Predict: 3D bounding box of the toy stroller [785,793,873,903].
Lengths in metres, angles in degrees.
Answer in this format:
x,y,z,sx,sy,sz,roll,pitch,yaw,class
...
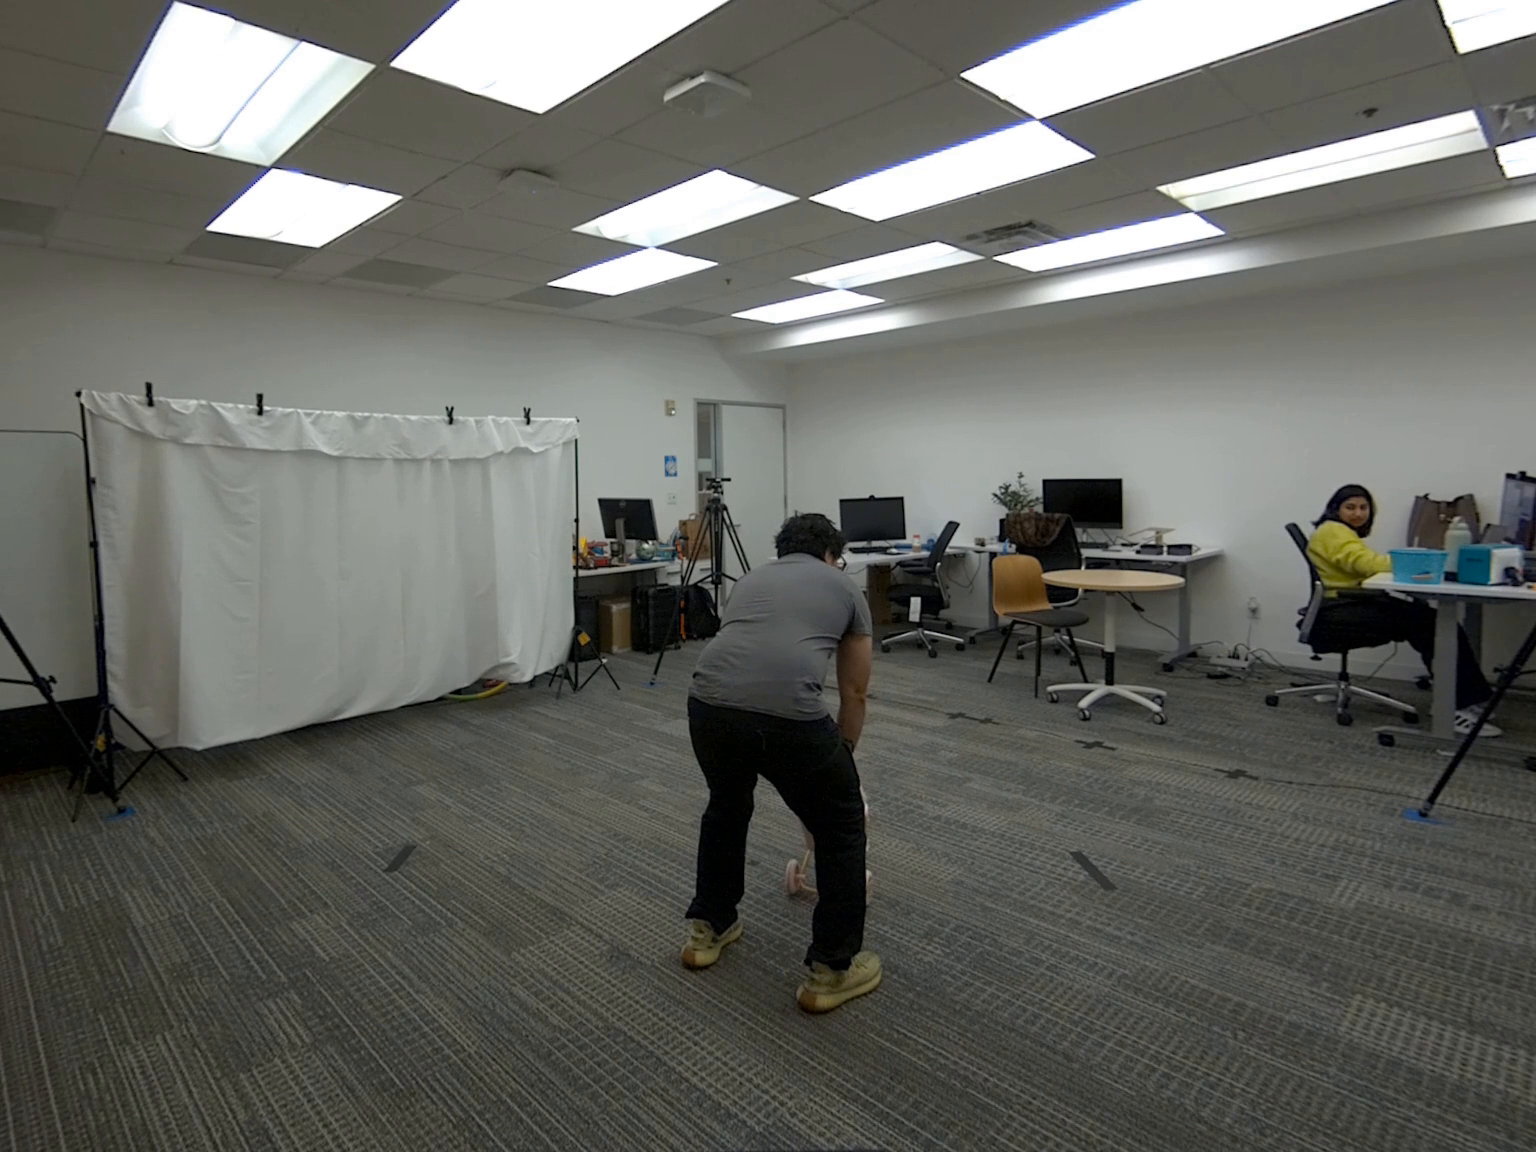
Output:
x,y,z,sx,sy,sz,roll,pitch,yaw,class
0.234,0.845,2.872,0.288,0.524,0.340,2,23,24,toy stroller
